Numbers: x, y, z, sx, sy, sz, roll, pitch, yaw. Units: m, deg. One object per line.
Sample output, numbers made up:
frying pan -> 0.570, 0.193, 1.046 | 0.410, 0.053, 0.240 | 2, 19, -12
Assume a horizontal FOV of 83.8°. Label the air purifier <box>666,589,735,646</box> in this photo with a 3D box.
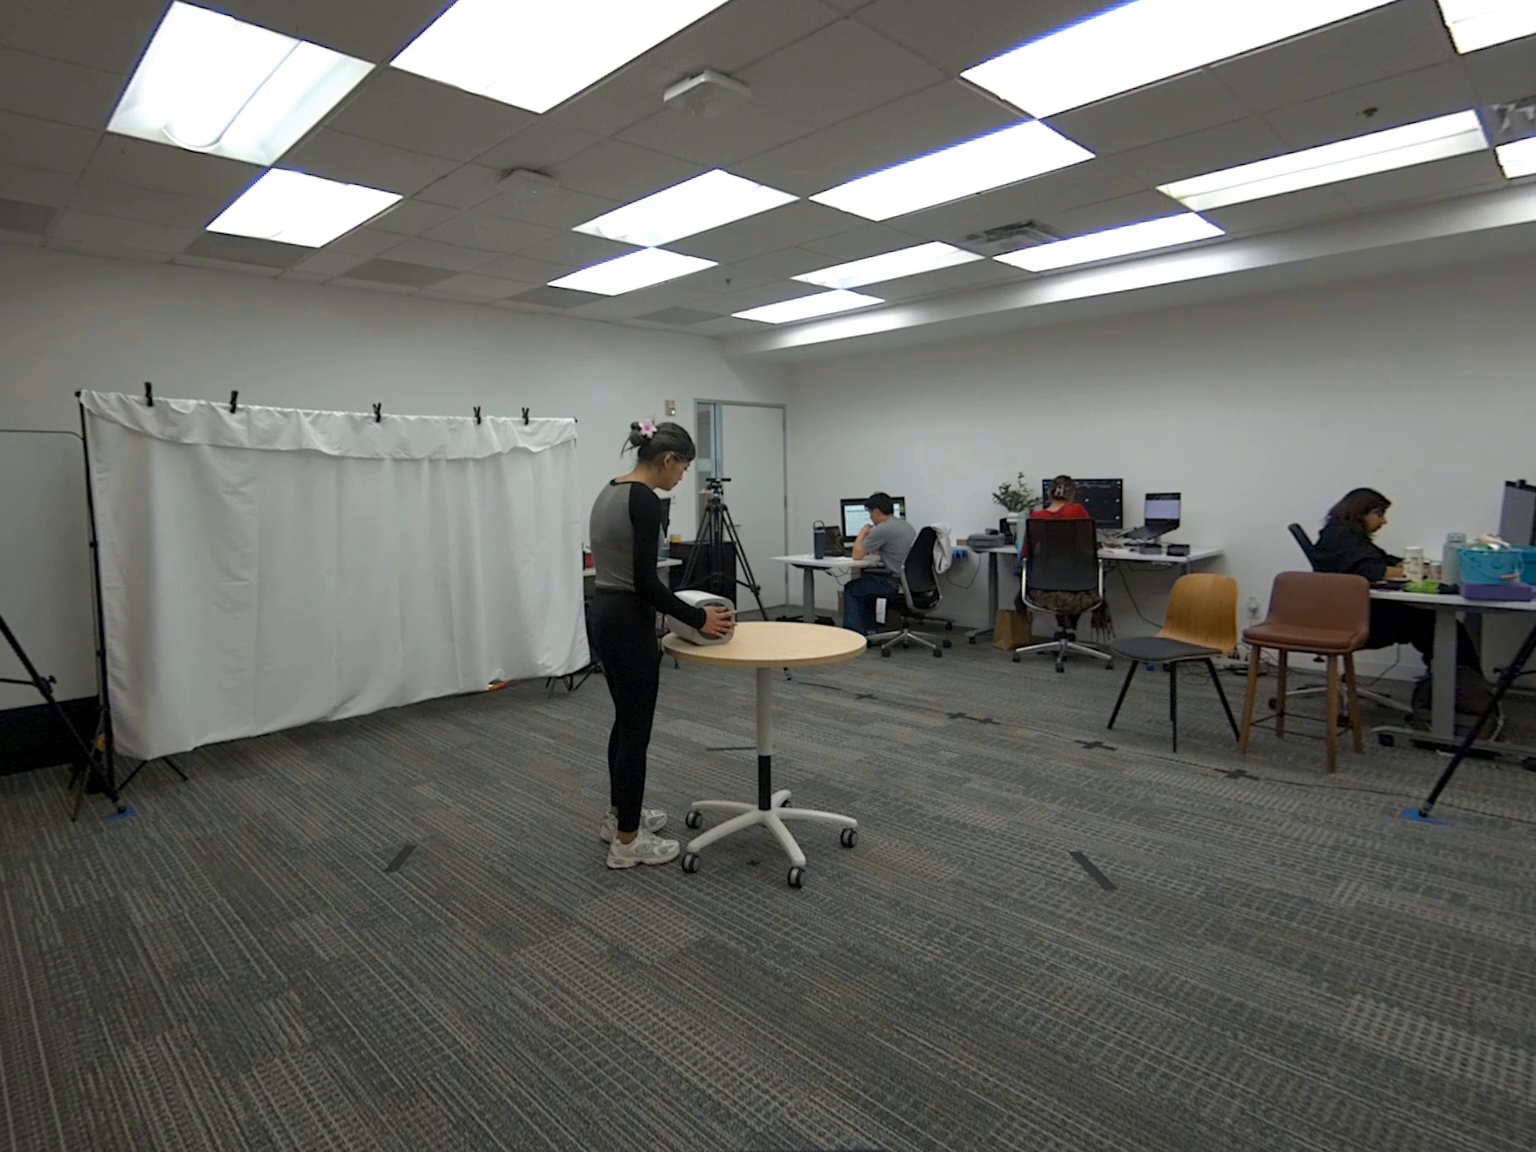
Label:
air purifier -> -0.256, 0.151, 3.209 | 0.167, 0.171, 0.272 | -3, 6, -27
